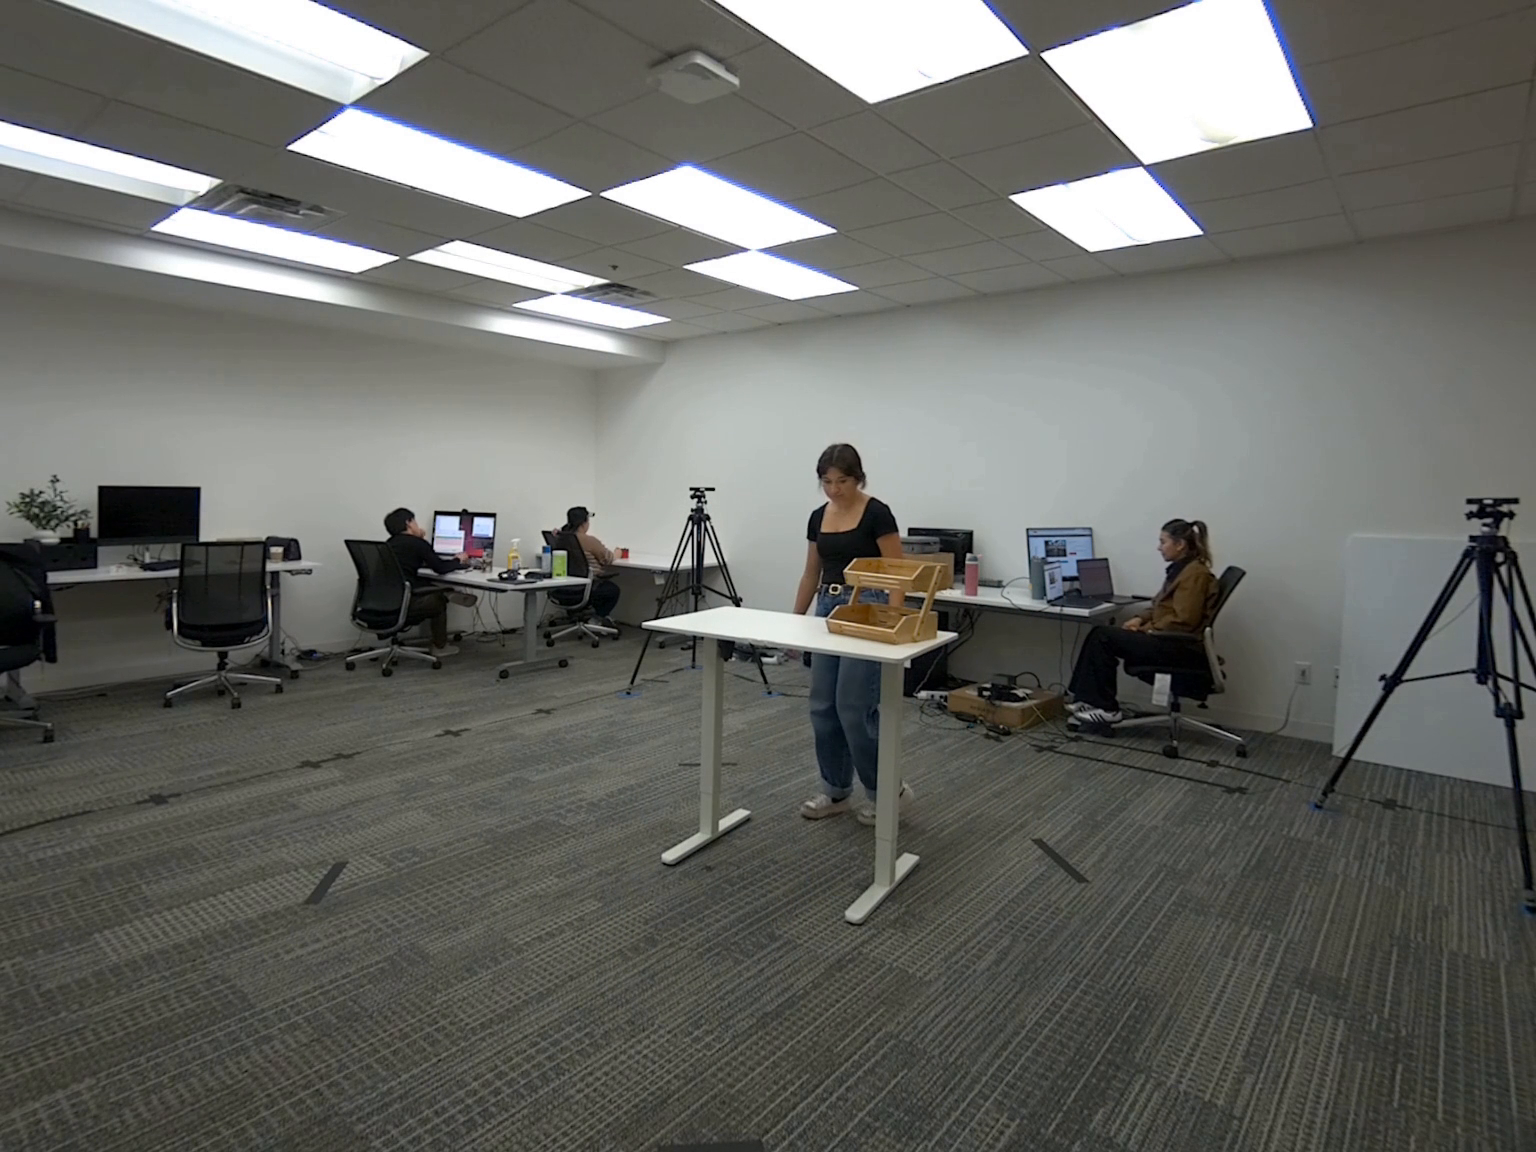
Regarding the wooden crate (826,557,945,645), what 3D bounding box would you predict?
[{"bbox_3d":[0.409,0.074,3.027,0.292,0.272,0.336,-1,6,-44],"label":"wooden crate"}]
